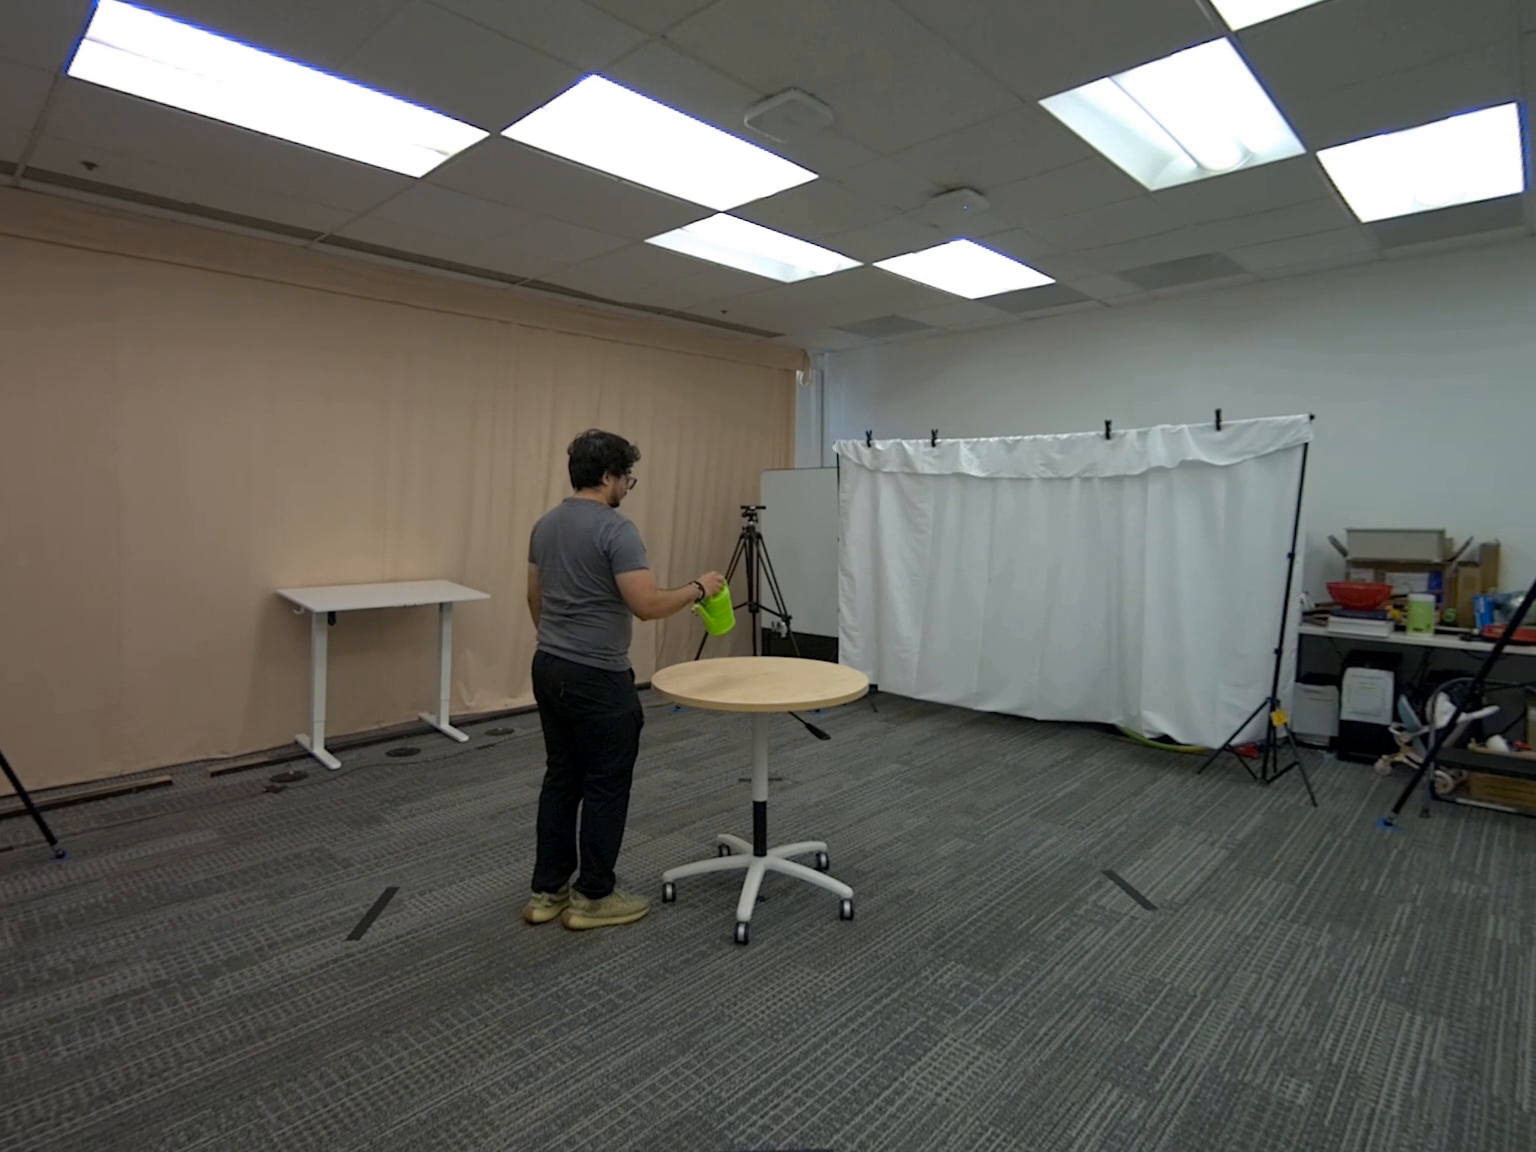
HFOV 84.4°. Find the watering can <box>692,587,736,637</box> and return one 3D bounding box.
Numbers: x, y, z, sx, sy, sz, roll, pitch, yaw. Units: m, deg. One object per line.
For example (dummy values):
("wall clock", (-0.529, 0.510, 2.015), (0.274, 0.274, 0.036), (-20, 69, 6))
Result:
("watering can", (-0.207, 0.125, 2.937), (0.101, 0.174, 0.274), (8, 27, 31))
